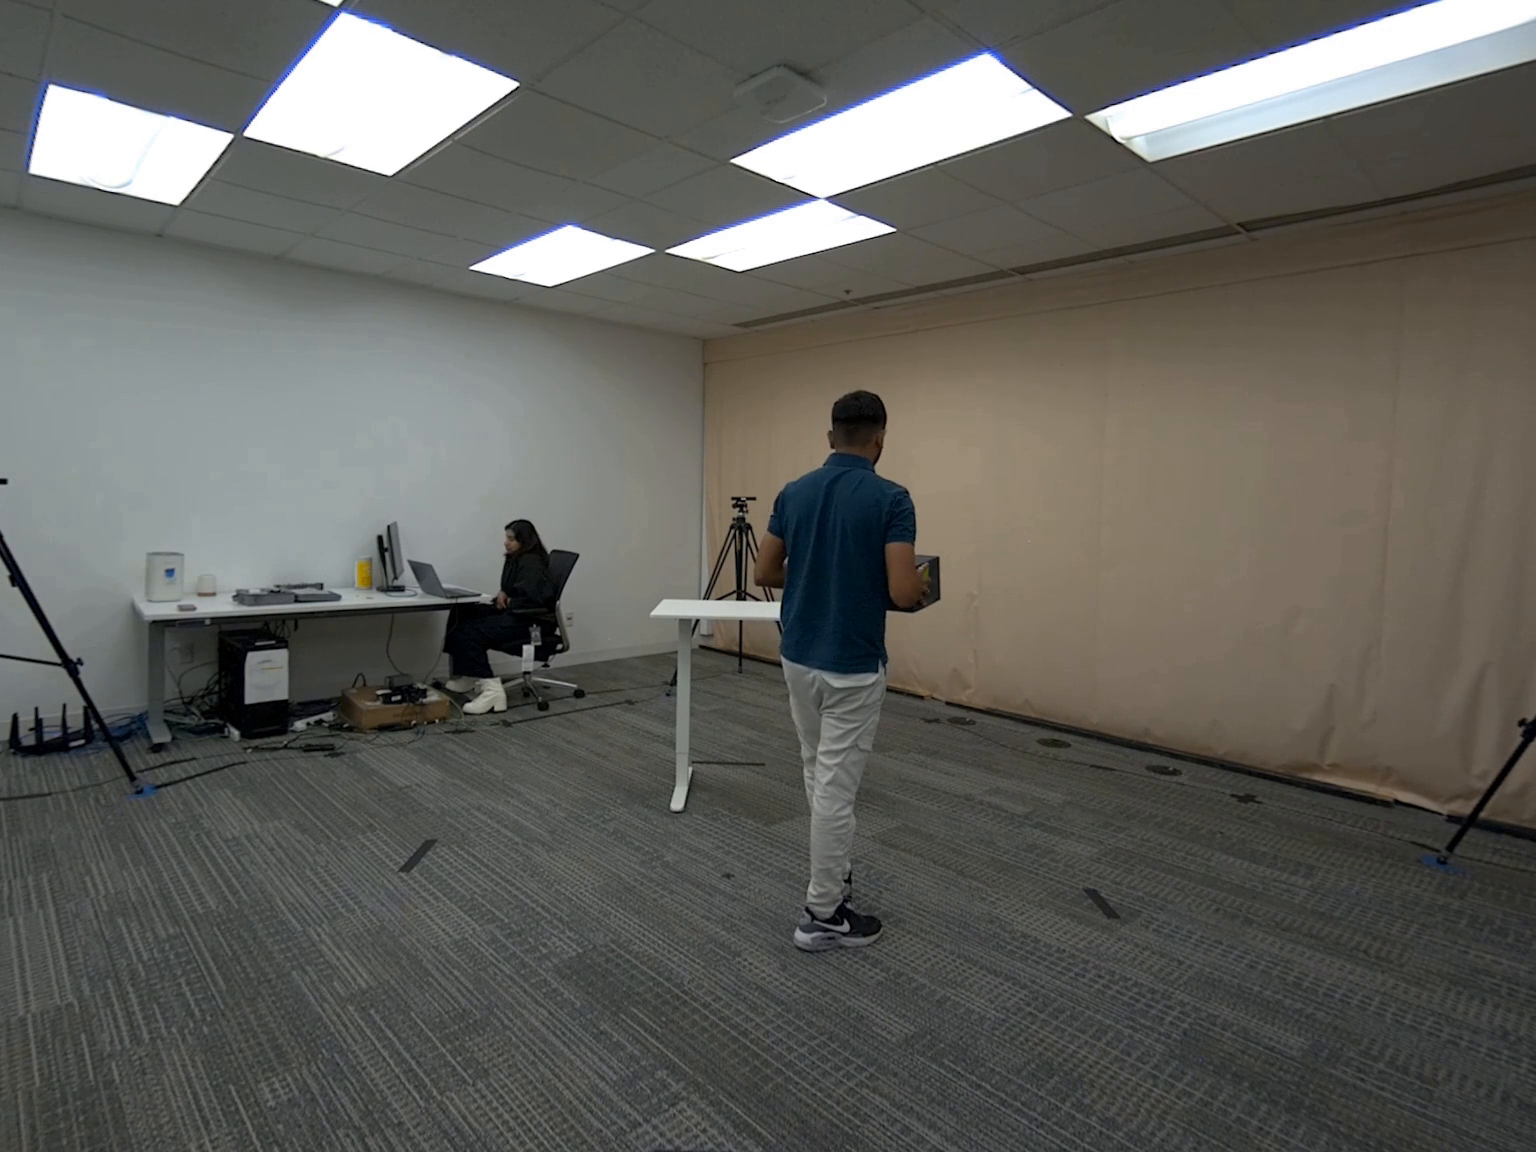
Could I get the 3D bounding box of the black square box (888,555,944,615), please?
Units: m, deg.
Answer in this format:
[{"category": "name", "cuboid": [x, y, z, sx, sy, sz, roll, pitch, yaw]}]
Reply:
[{"category": "black square box", "cuboid": [0.453, 0.020, 2.907, 0.222, 0.155, 0.224, 5, 11, 33]}]
